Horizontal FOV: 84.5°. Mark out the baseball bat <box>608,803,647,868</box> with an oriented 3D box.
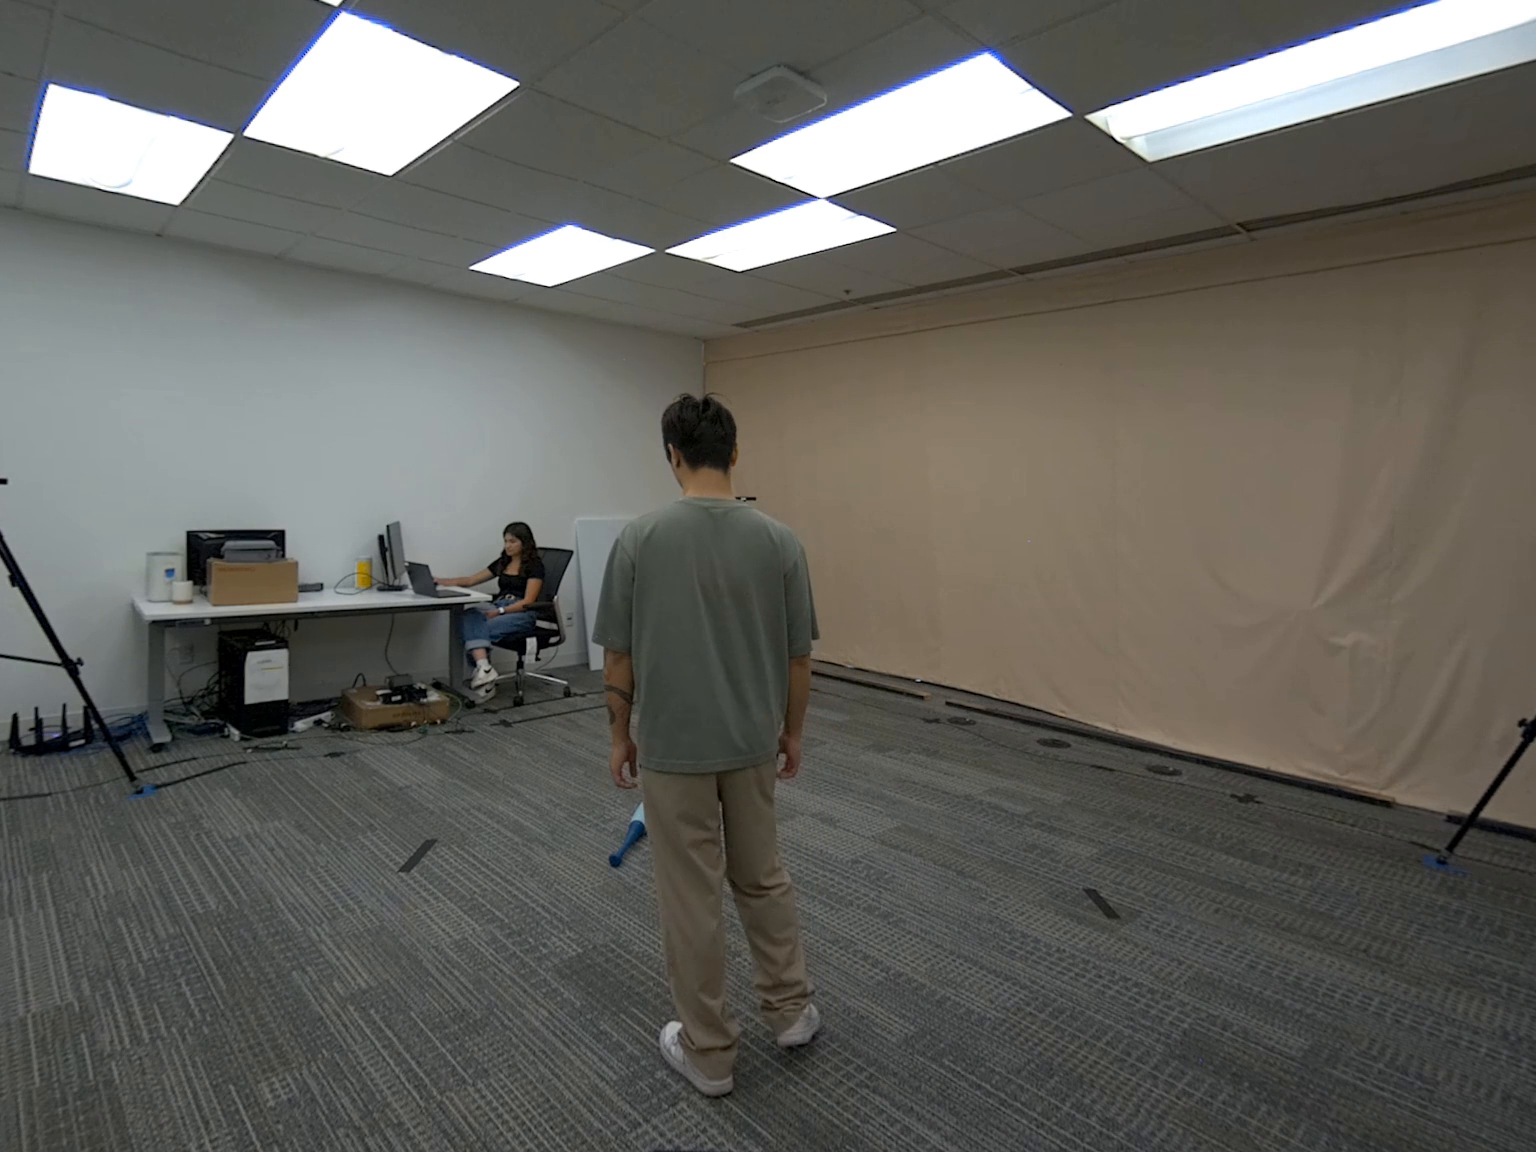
[{"bbox_3d":[-0.544,1.036,3.416,0.090,0.088,0.542,2,9,8],"label":"baseball bat"}]
